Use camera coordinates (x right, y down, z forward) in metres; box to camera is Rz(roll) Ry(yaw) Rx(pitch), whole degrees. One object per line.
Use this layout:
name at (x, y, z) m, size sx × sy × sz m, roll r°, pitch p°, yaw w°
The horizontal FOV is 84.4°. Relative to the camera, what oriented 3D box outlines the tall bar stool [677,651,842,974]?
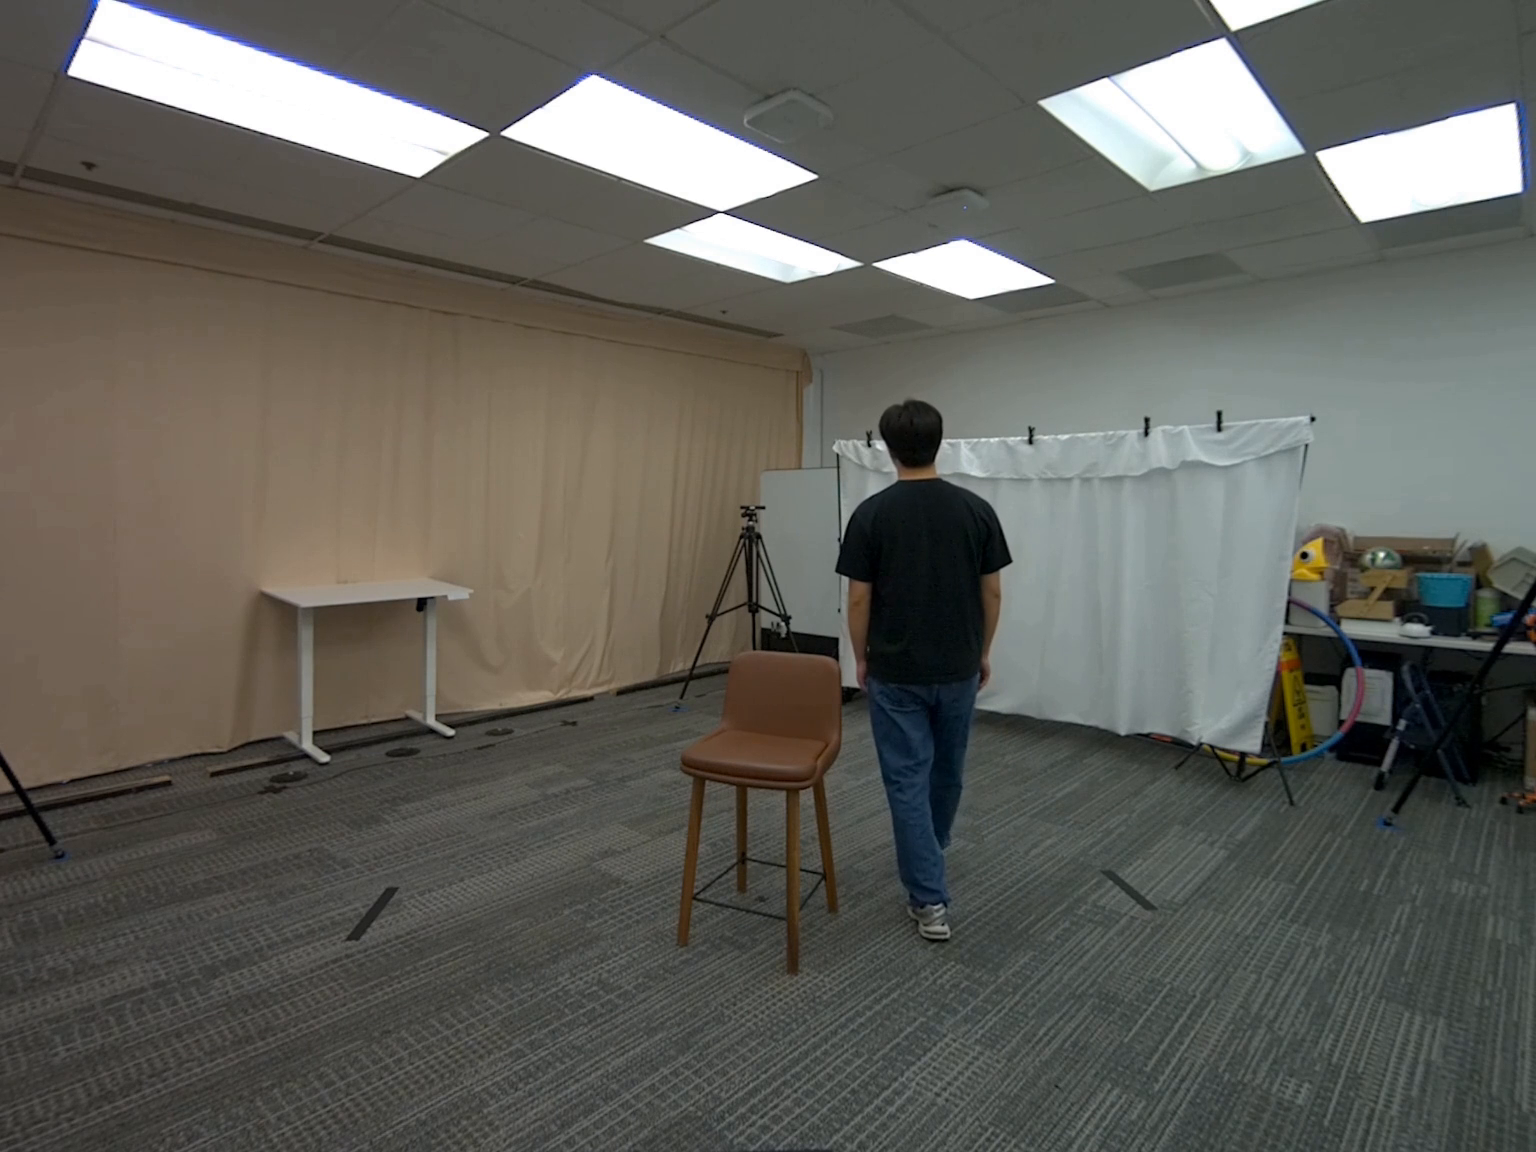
tall bar stool at (-0.010, 0.731, 2.761) m, size 0.468 × 0.889 × 0.456 m, roll 2°, pitch 2°, yaw 25°
